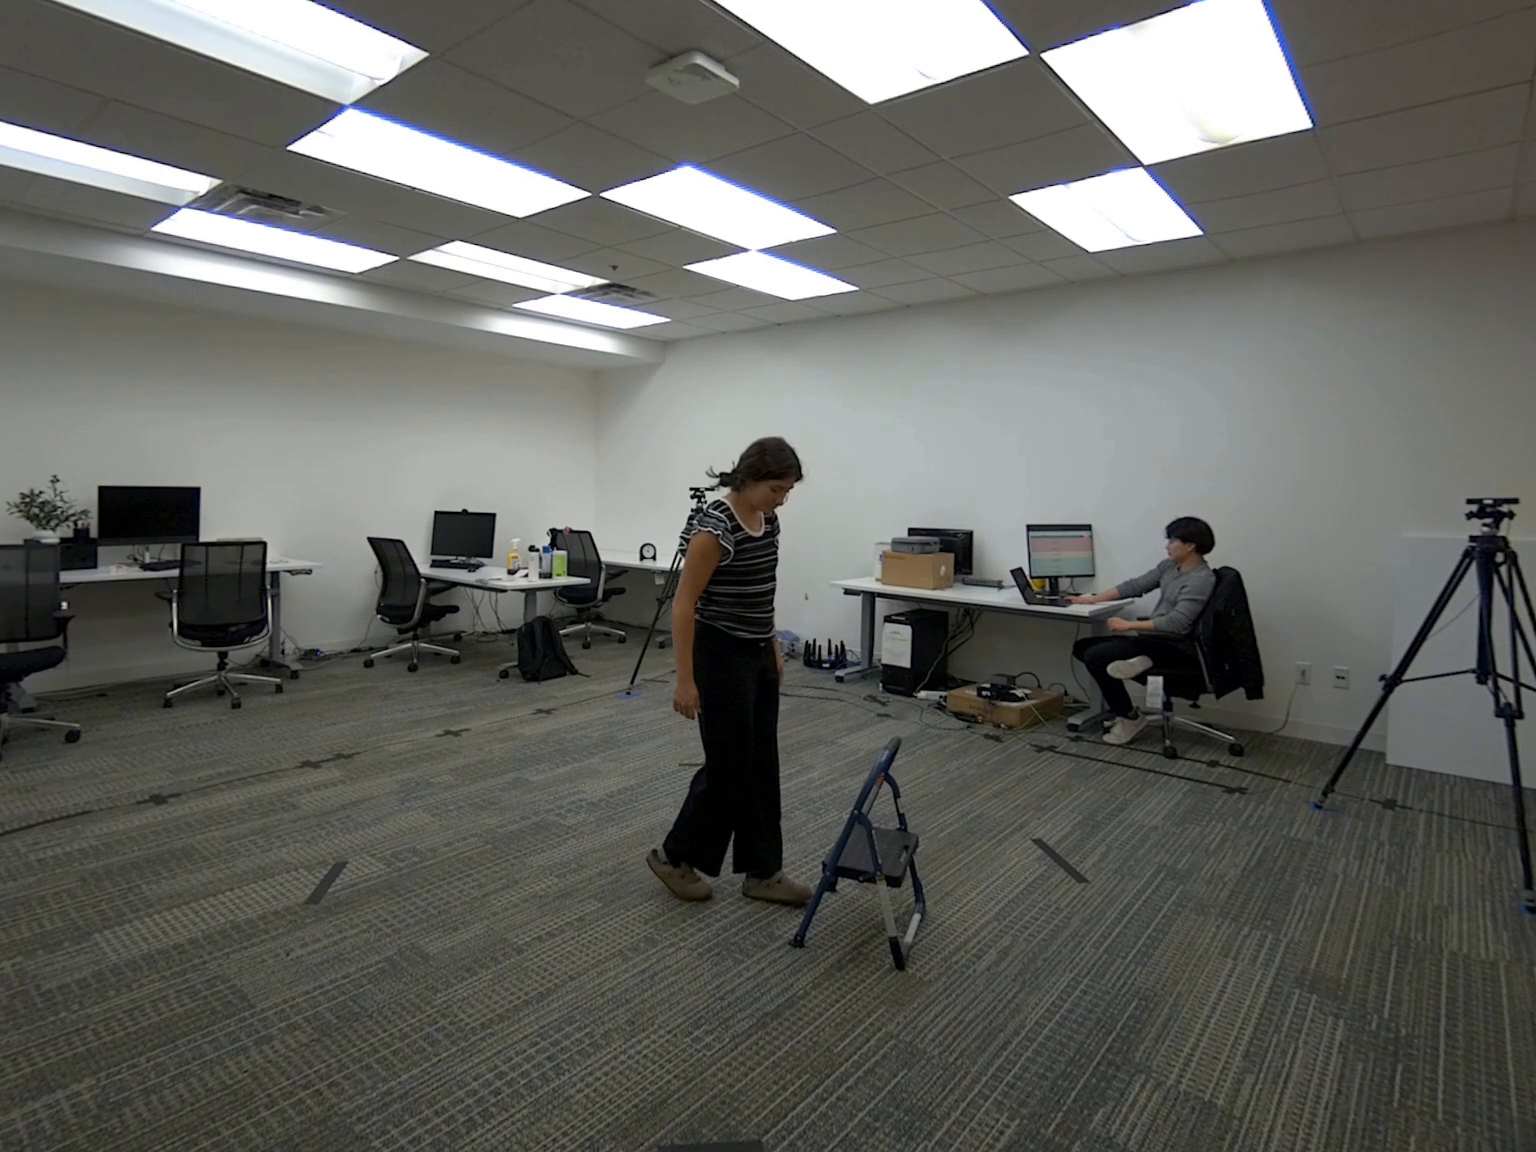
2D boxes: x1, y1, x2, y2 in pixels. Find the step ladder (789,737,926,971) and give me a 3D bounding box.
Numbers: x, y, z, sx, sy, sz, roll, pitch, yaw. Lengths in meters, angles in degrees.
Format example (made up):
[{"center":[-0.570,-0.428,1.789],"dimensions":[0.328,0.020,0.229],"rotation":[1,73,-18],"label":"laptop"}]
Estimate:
[{"center":[0.302,0.817,2.703],"dimensions":[0.357,0.604,0.422],"rotation":[3,4,20],"label":"step ladder"}]
